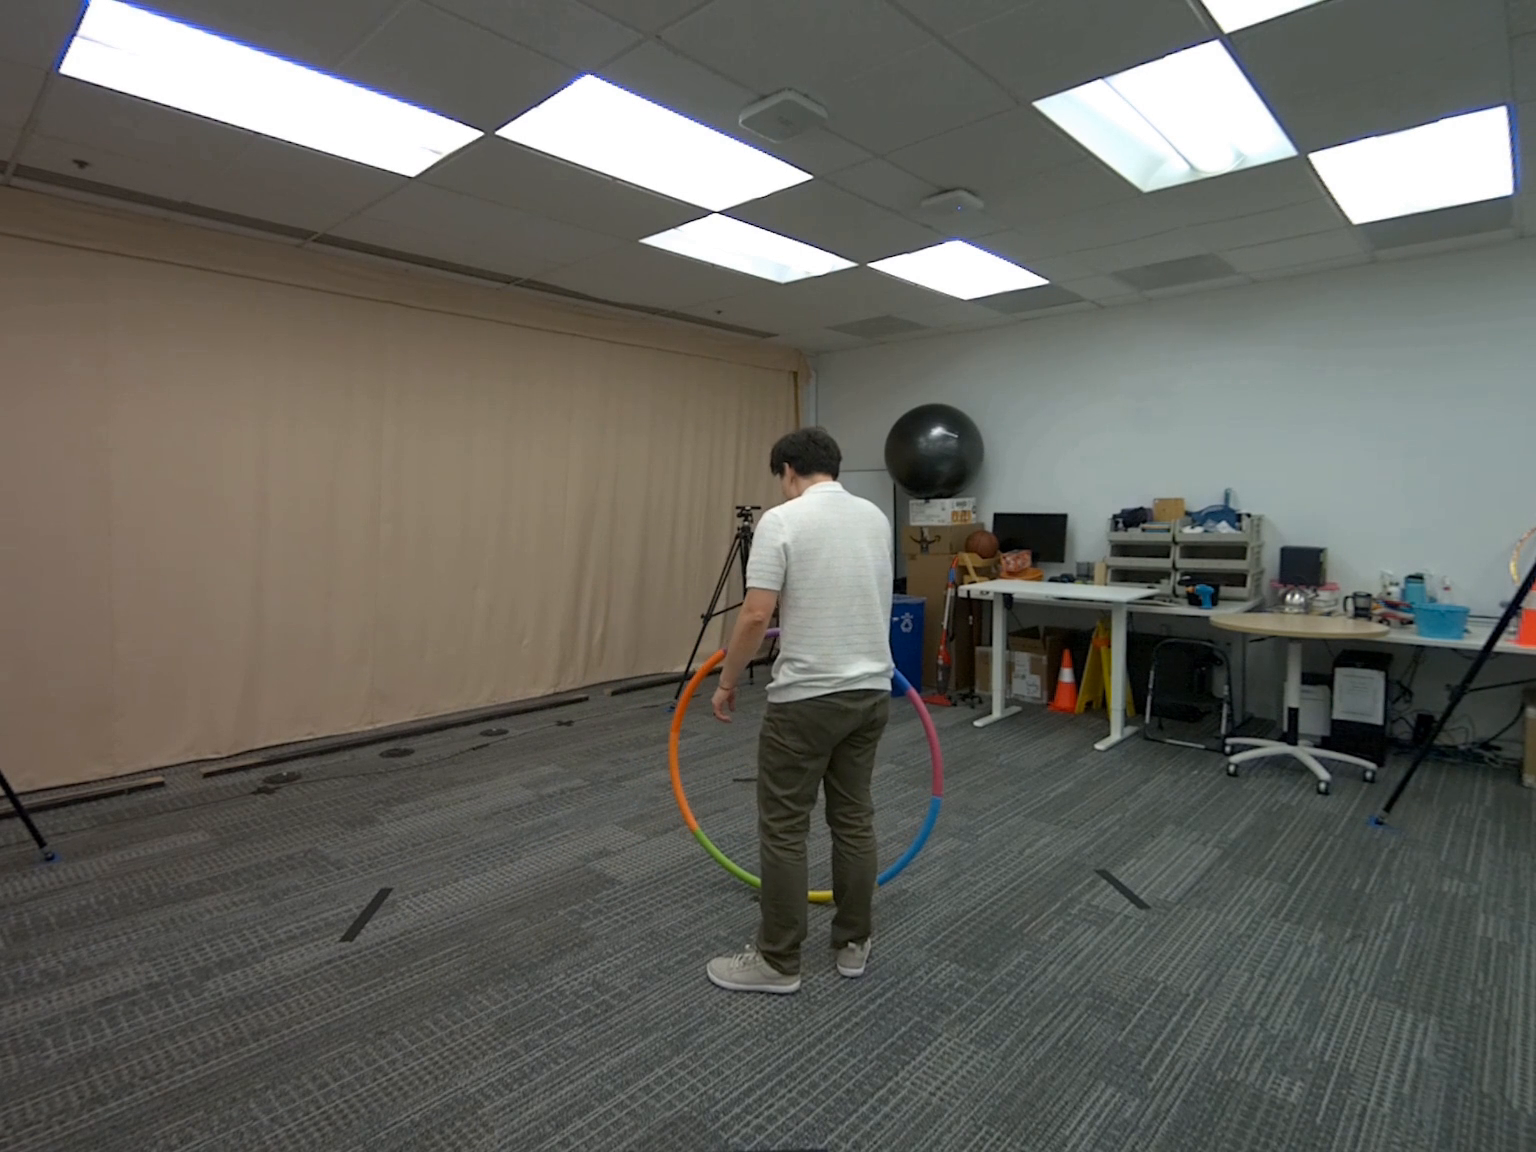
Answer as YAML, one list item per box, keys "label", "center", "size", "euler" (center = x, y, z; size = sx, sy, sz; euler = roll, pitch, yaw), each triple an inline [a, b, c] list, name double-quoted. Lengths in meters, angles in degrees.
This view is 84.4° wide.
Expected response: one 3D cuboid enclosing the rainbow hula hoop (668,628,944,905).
- label: "rainbow hula hoop"
  center: [0.109, 0.667, 3.014]
  size: [0.999, 0.981, 0.035]
  euler: [1, -5, 20]
